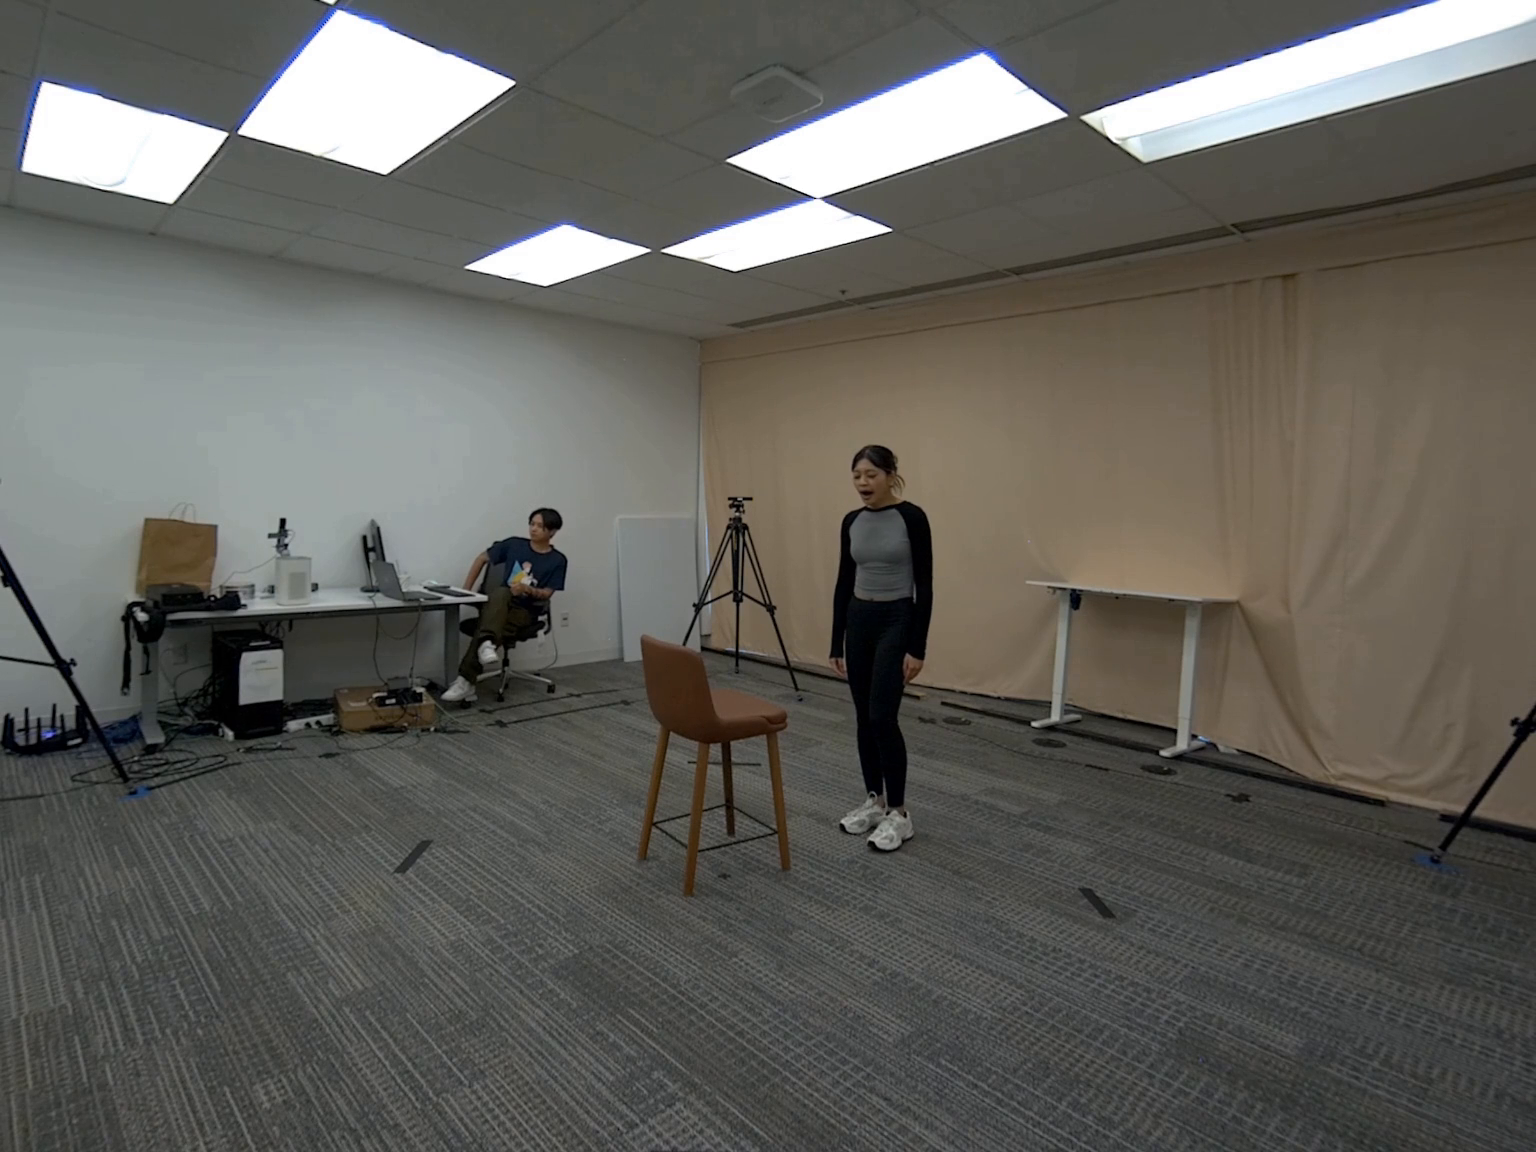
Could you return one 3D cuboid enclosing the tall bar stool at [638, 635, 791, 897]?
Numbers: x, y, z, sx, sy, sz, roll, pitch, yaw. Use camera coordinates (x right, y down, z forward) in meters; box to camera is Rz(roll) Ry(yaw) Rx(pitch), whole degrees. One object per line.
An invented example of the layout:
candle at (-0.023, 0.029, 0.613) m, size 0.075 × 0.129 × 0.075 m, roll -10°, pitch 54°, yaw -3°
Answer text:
tall bar stool at (-0.214, 0.663, 3.183) m, size 0.458 × 0.887 × 0.468 m, roll -3°, pitch 5°, yaw -35°
